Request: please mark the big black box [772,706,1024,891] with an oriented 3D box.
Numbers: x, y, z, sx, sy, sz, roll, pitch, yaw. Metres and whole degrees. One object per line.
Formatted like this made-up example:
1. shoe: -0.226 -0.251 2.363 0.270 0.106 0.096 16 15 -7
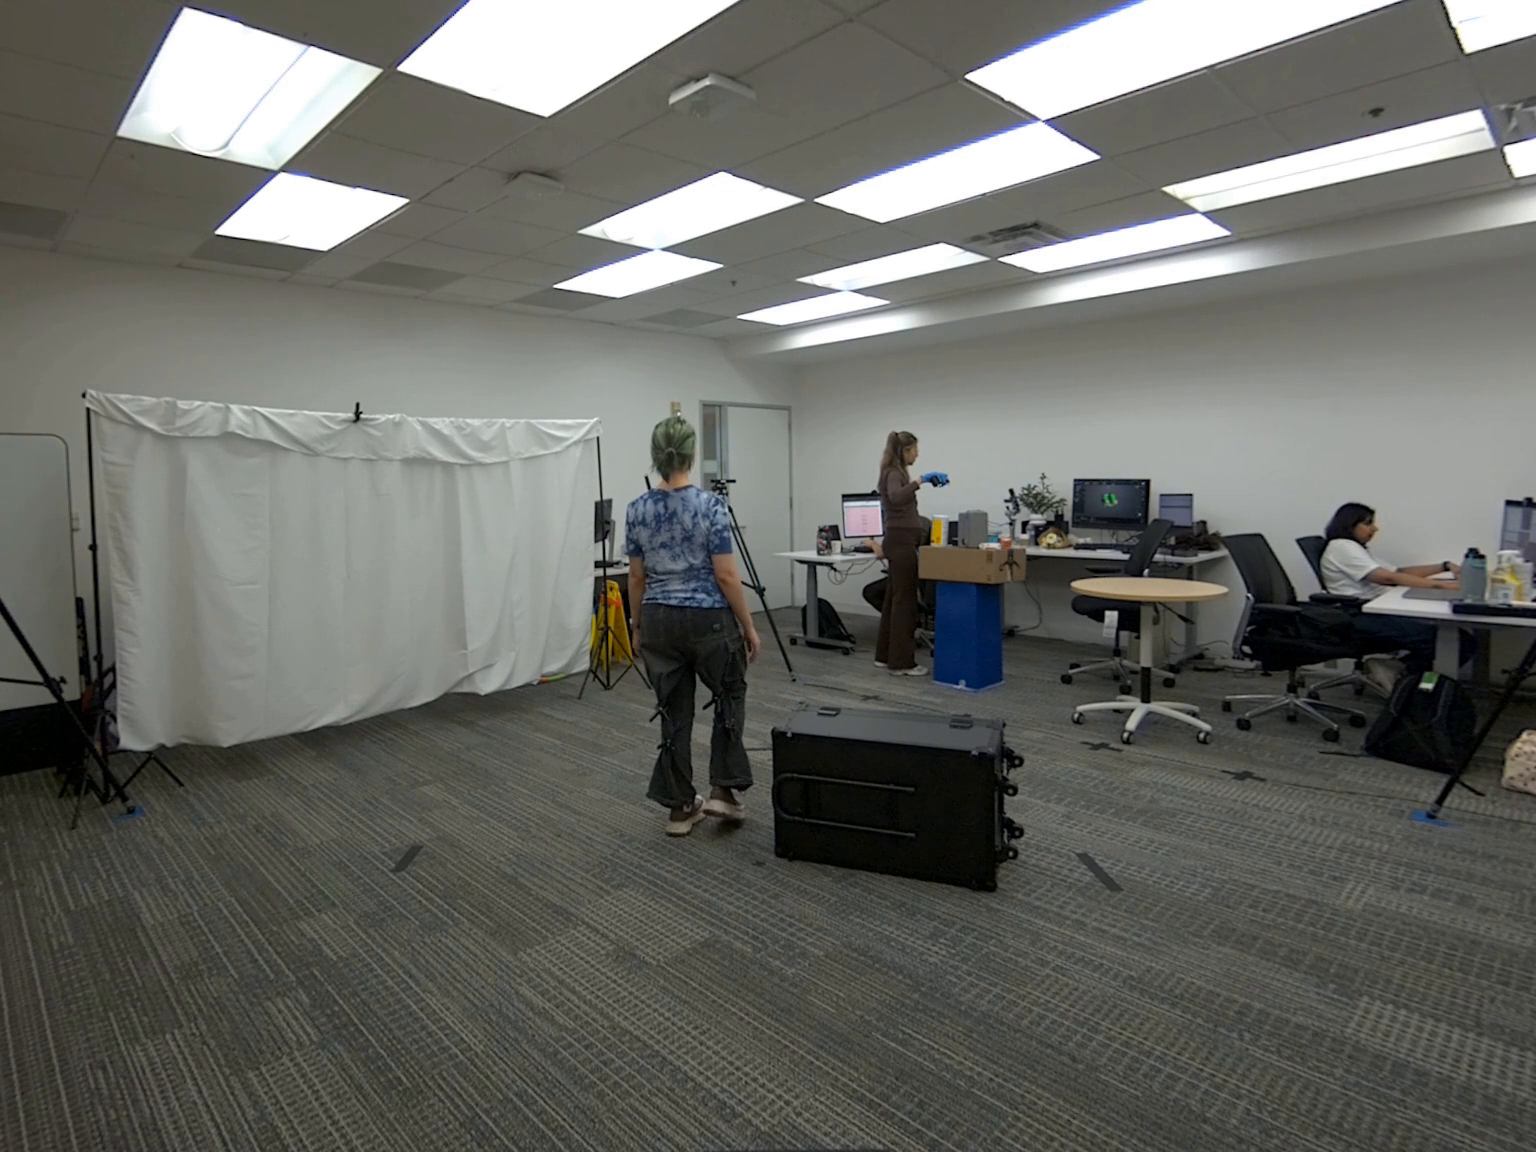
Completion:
1. big black box: 0.471 0.780 3.115 0.879 0.518 0.391 1 7 22
